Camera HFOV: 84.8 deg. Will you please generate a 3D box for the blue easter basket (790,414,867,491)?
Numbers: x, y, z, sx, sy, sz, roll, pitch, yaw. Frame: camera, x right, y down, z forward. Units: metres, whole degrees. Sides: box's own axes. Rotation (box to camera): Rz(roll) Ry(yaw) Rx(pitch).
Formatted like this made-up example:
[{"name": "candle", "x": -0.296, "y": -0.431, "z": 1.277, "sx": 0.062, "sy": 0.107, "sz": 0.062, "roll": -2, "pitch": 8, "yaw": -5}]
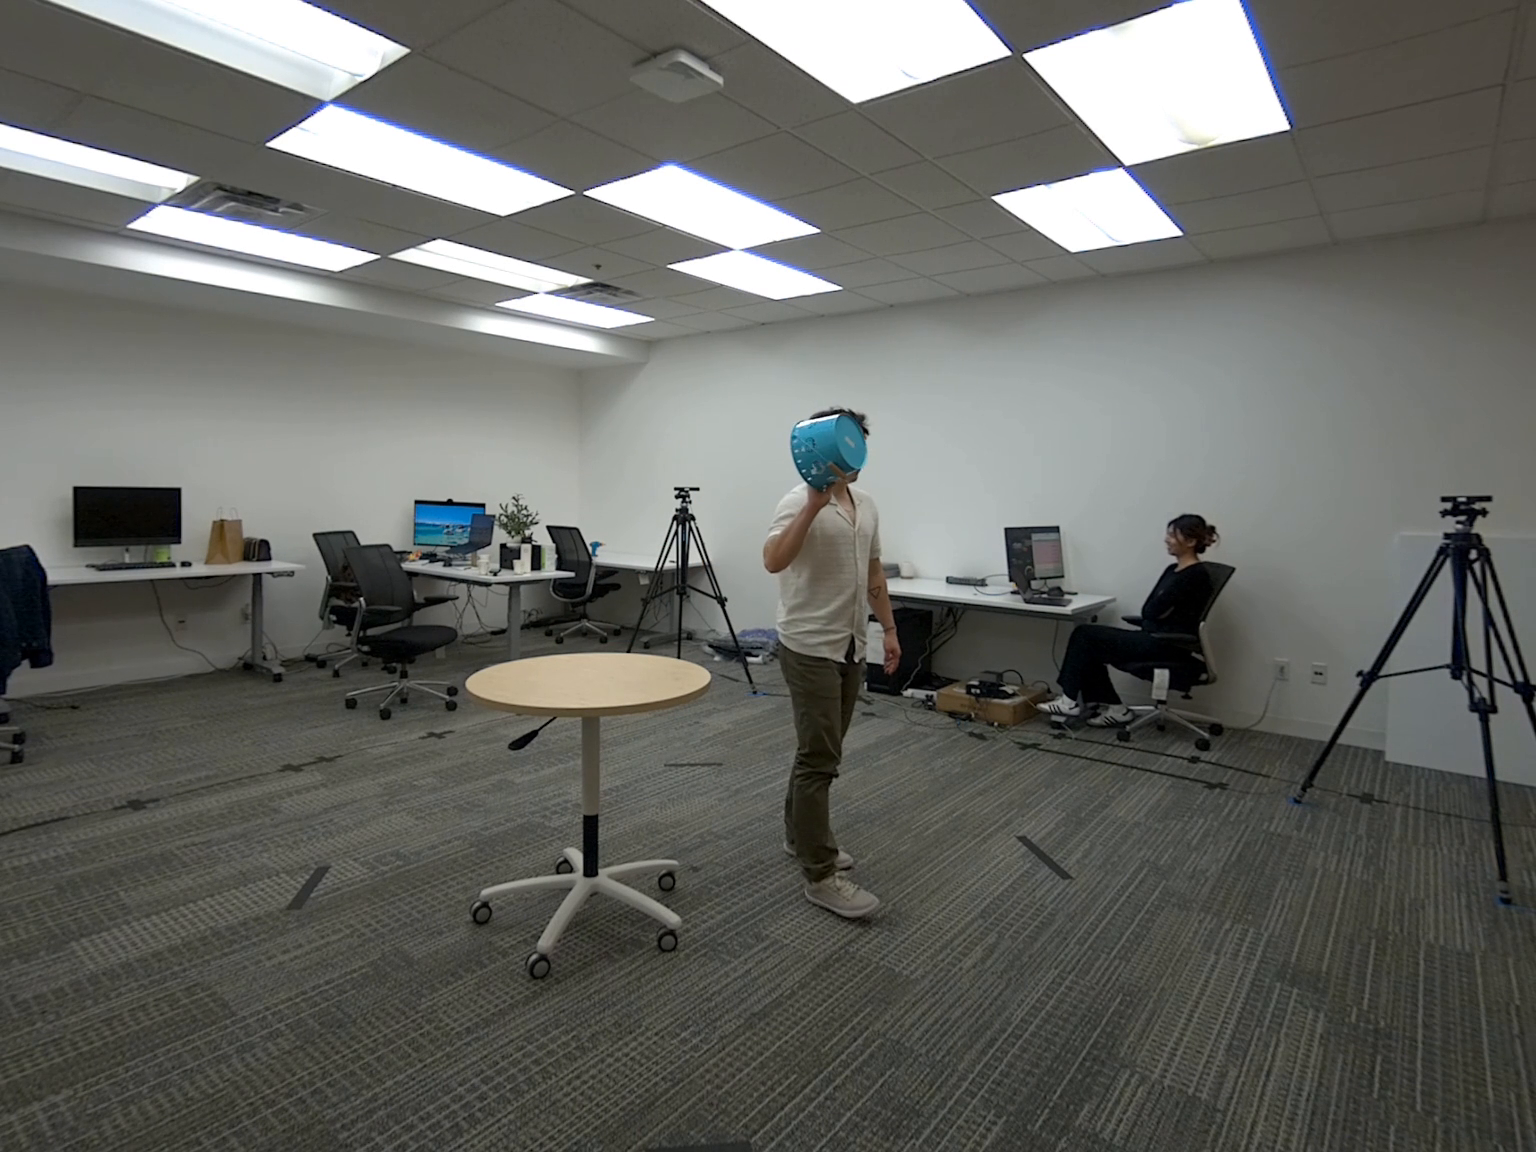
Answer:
[{"name": "blue easter basket", "x": 0.191, "y": -0.402, "z": 2.702, "sx": 0.159, "sy": 0.245, "sz": 0.236, "roll": -16, "pitch": -7, "yaw": 37}]
